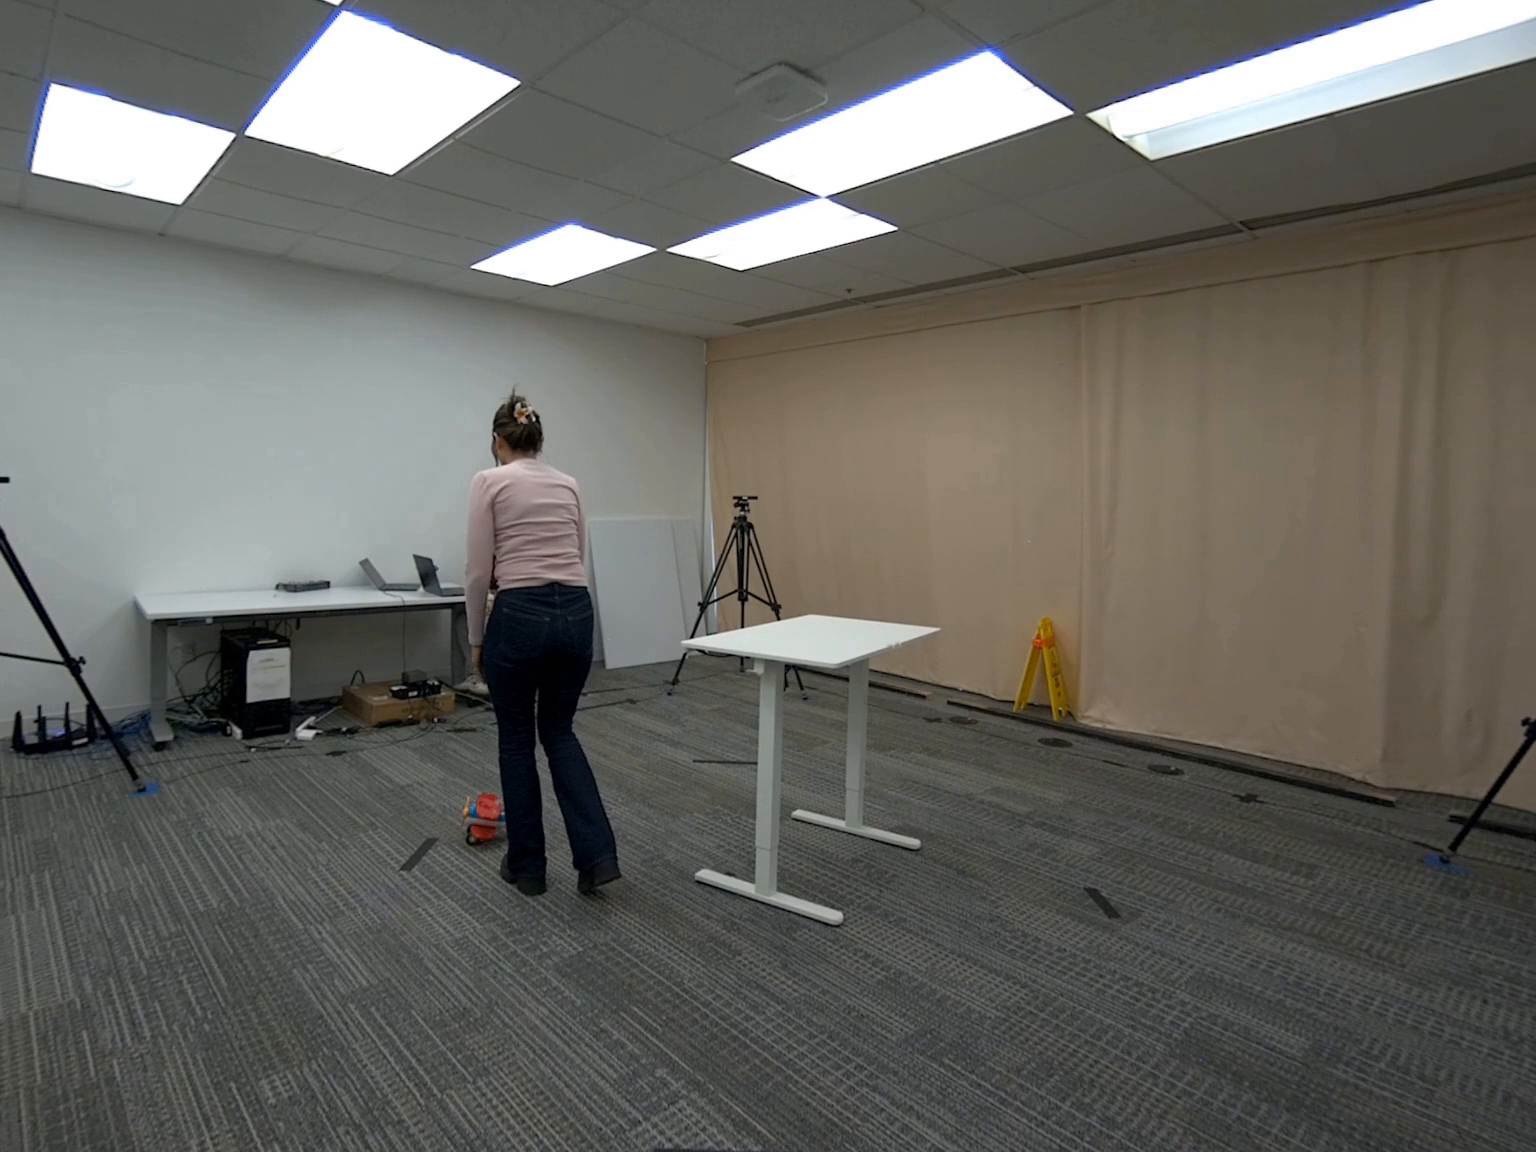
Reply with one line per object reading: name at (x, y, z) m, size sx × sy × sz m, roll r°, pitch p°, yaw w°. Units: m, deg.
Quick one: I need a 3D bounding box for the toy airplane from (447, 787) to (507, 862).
toy airplane at (-1.106, 0.984, 3.390) m, size 0.257 × 0.156 × 0.253 m, roll 6°, pitch 8°, yaw 45°
